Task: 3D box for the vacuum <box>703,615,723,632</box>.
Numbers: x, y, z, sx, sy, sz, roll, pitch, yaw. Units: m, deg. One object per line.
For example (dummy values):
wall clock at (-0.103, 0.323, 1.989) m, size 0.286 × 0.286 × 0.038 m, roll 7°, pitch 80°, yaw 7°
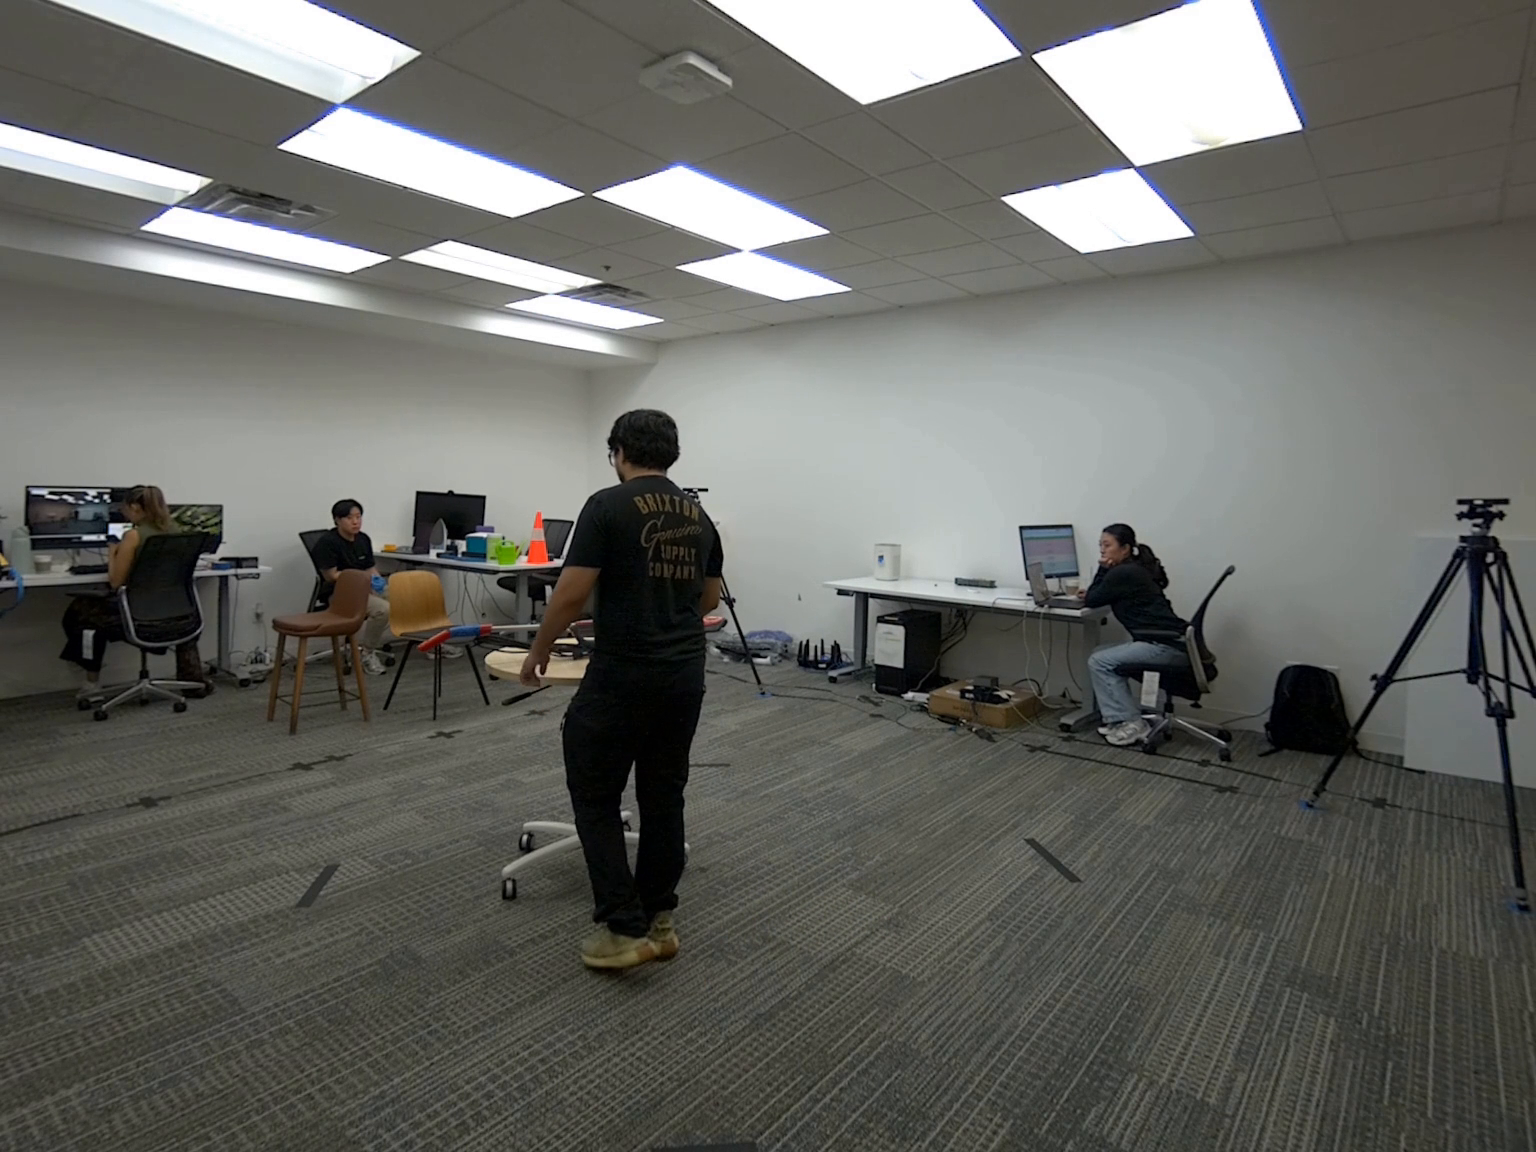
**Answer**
vacuum at (-0.705, 0.232, 3.017) m, size 1.019 × 0.144 × 0.259 m, roll -1°, pitch -1°, yaw -33°
